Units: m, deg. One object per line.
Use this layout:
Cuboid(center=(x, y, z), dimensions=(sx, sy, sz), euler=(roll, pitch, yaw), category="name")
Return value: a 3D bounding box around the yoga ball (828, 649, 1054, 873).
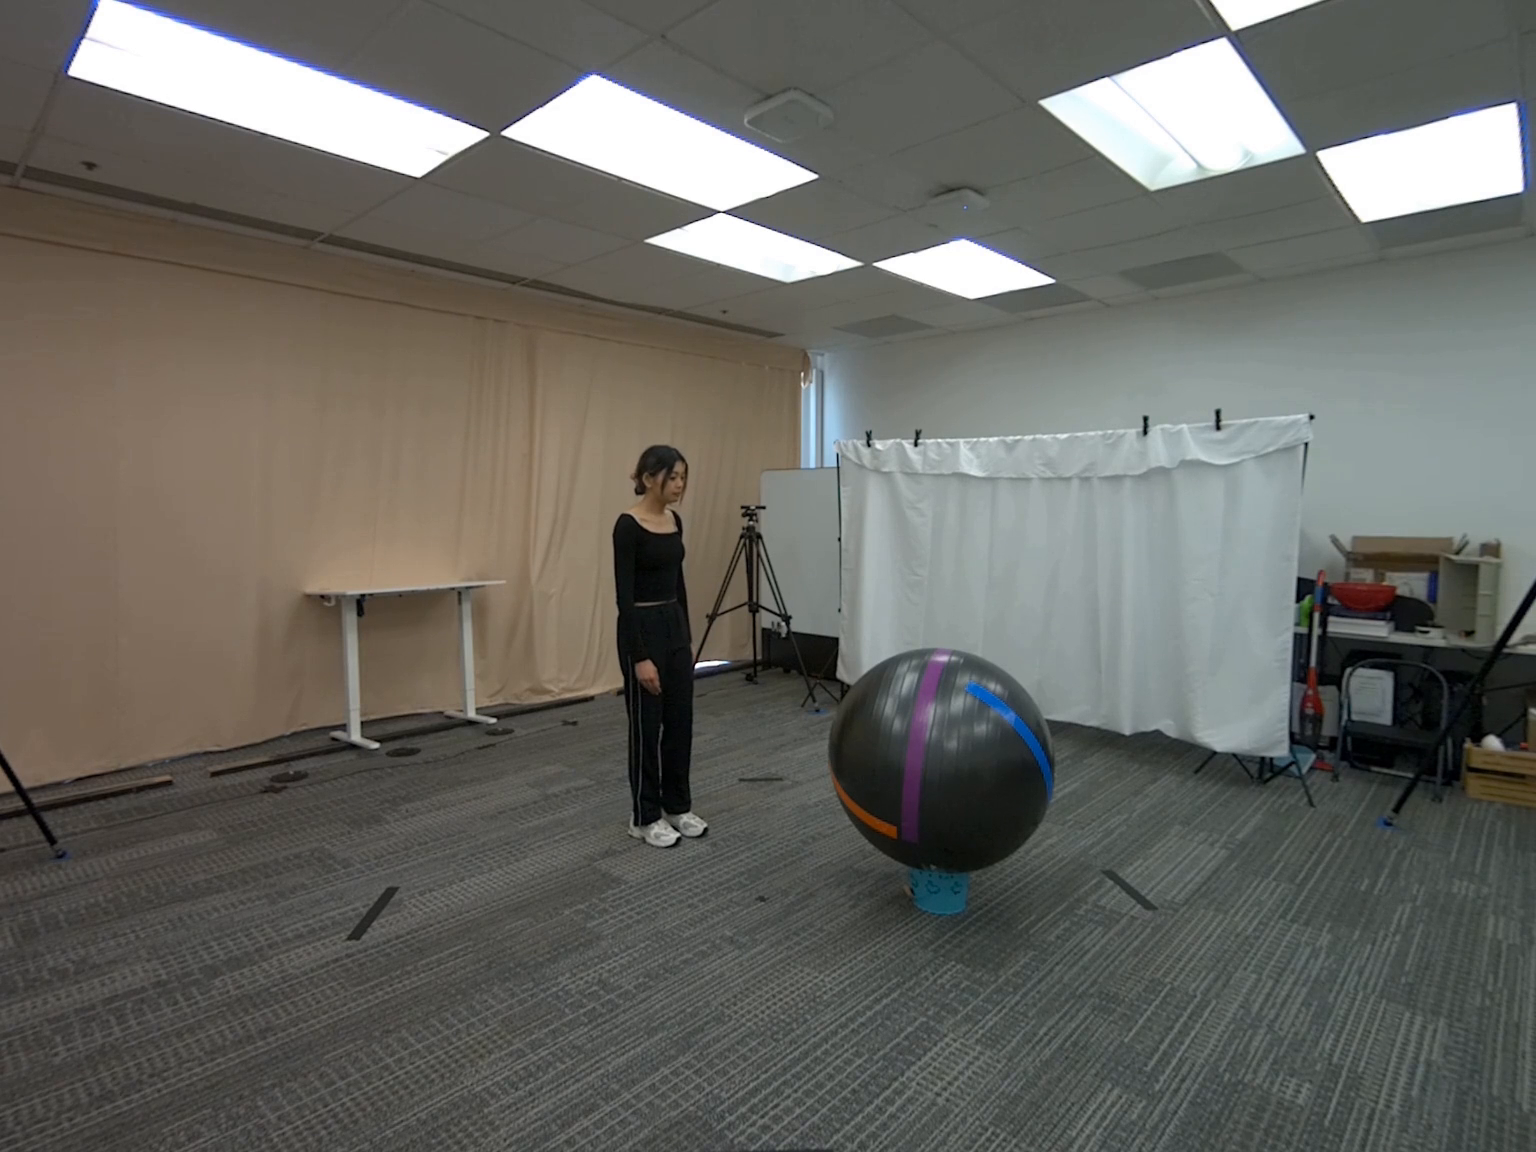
Cuboid(center=(0.603, 0.638, 2.933), dimensions=(0.757, 0.756, 0.760), euler=(0, 4, -2), category="yoga ball")
